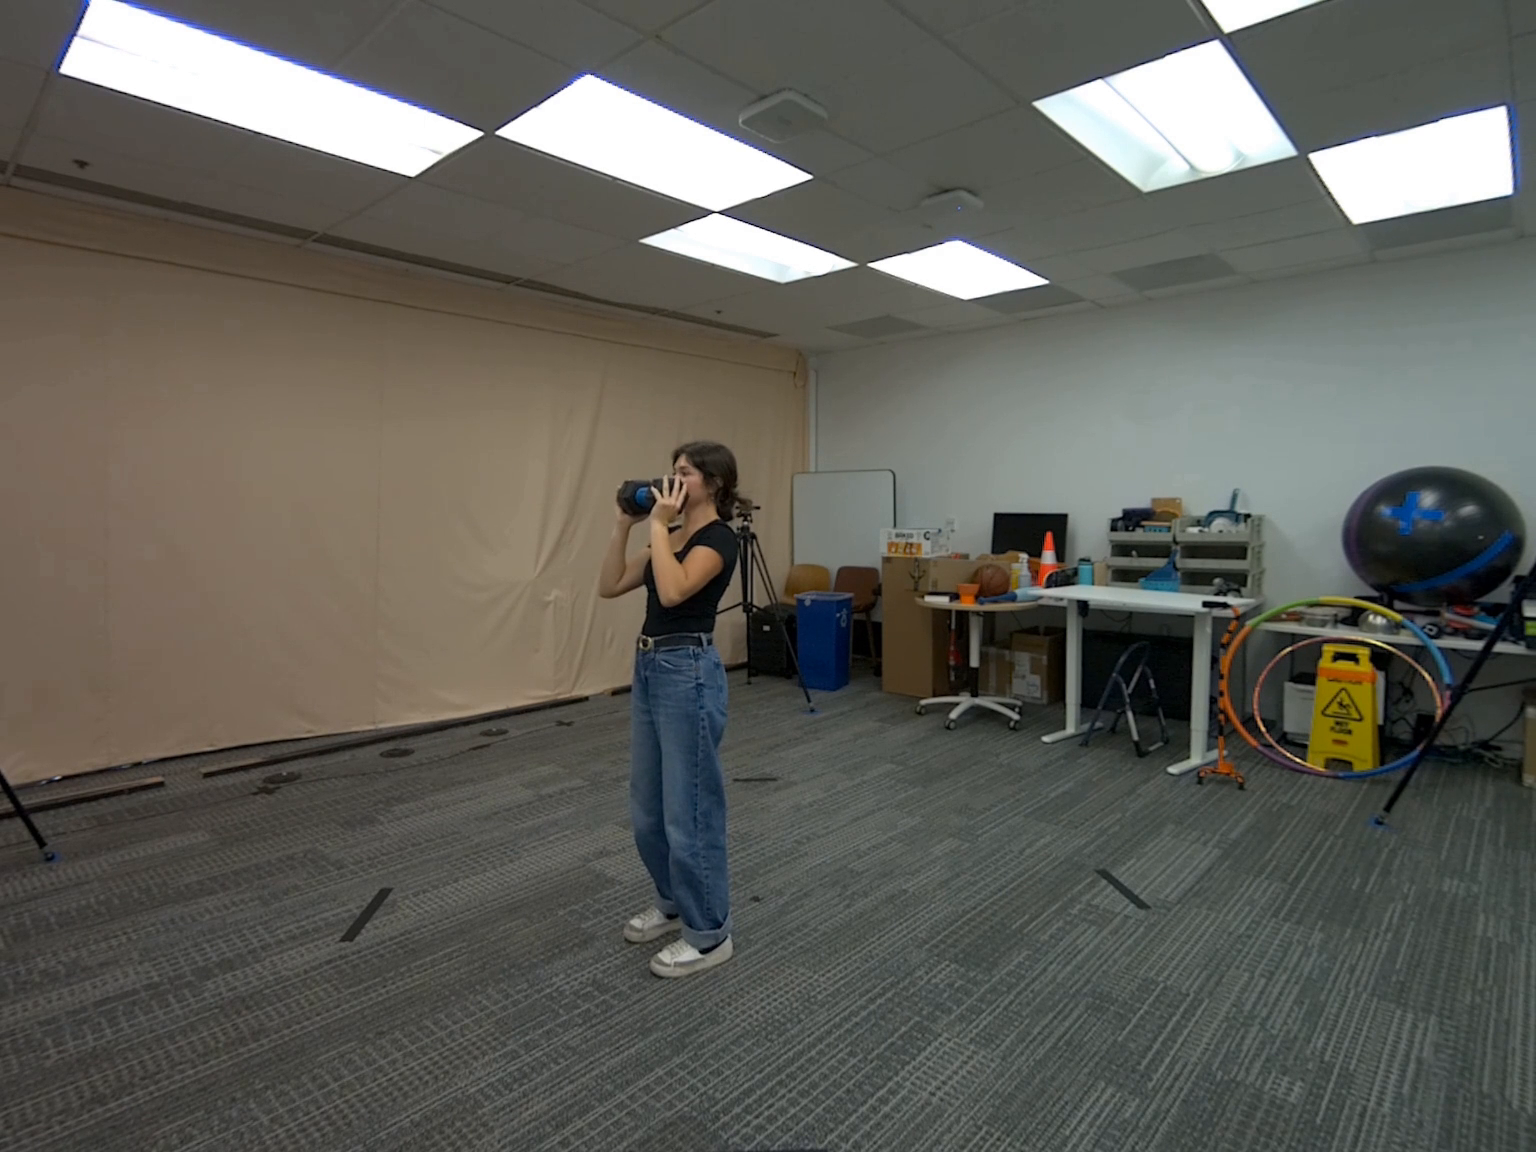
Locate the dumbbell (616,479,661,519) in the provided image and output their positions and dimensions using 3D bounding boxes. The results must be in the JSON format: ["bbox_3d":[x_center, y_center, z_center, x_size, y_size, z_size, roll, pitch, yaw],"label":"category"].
[{"bbox_3d":[-0.348,-0.249,2.588,0.107,0.120,0.302,-37,21,-23],"label":"dumbbell"}]
